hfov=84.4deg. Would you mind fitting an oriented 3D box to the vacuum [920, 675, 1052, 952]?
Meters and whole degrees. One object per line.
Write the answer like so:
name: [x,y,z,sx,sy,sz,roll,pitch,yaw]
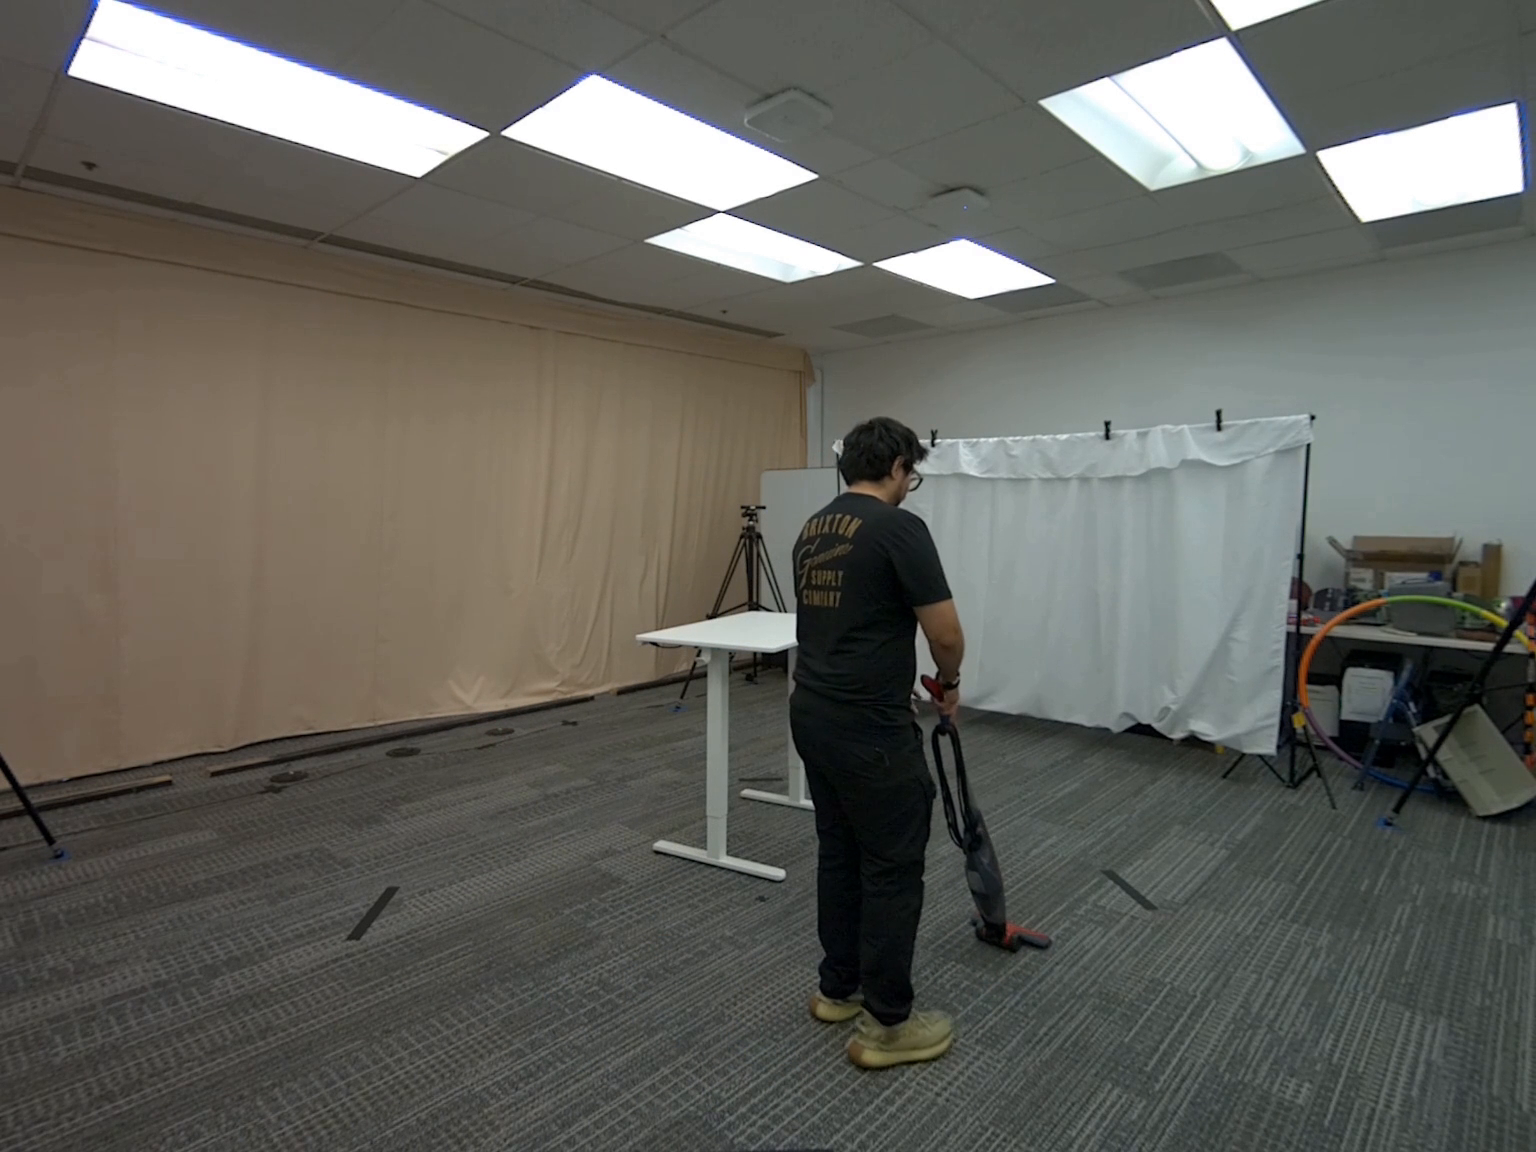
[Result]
vacuum: [0.603,0.732,2.492,0.261,1.026,0.142,2,33,39]
